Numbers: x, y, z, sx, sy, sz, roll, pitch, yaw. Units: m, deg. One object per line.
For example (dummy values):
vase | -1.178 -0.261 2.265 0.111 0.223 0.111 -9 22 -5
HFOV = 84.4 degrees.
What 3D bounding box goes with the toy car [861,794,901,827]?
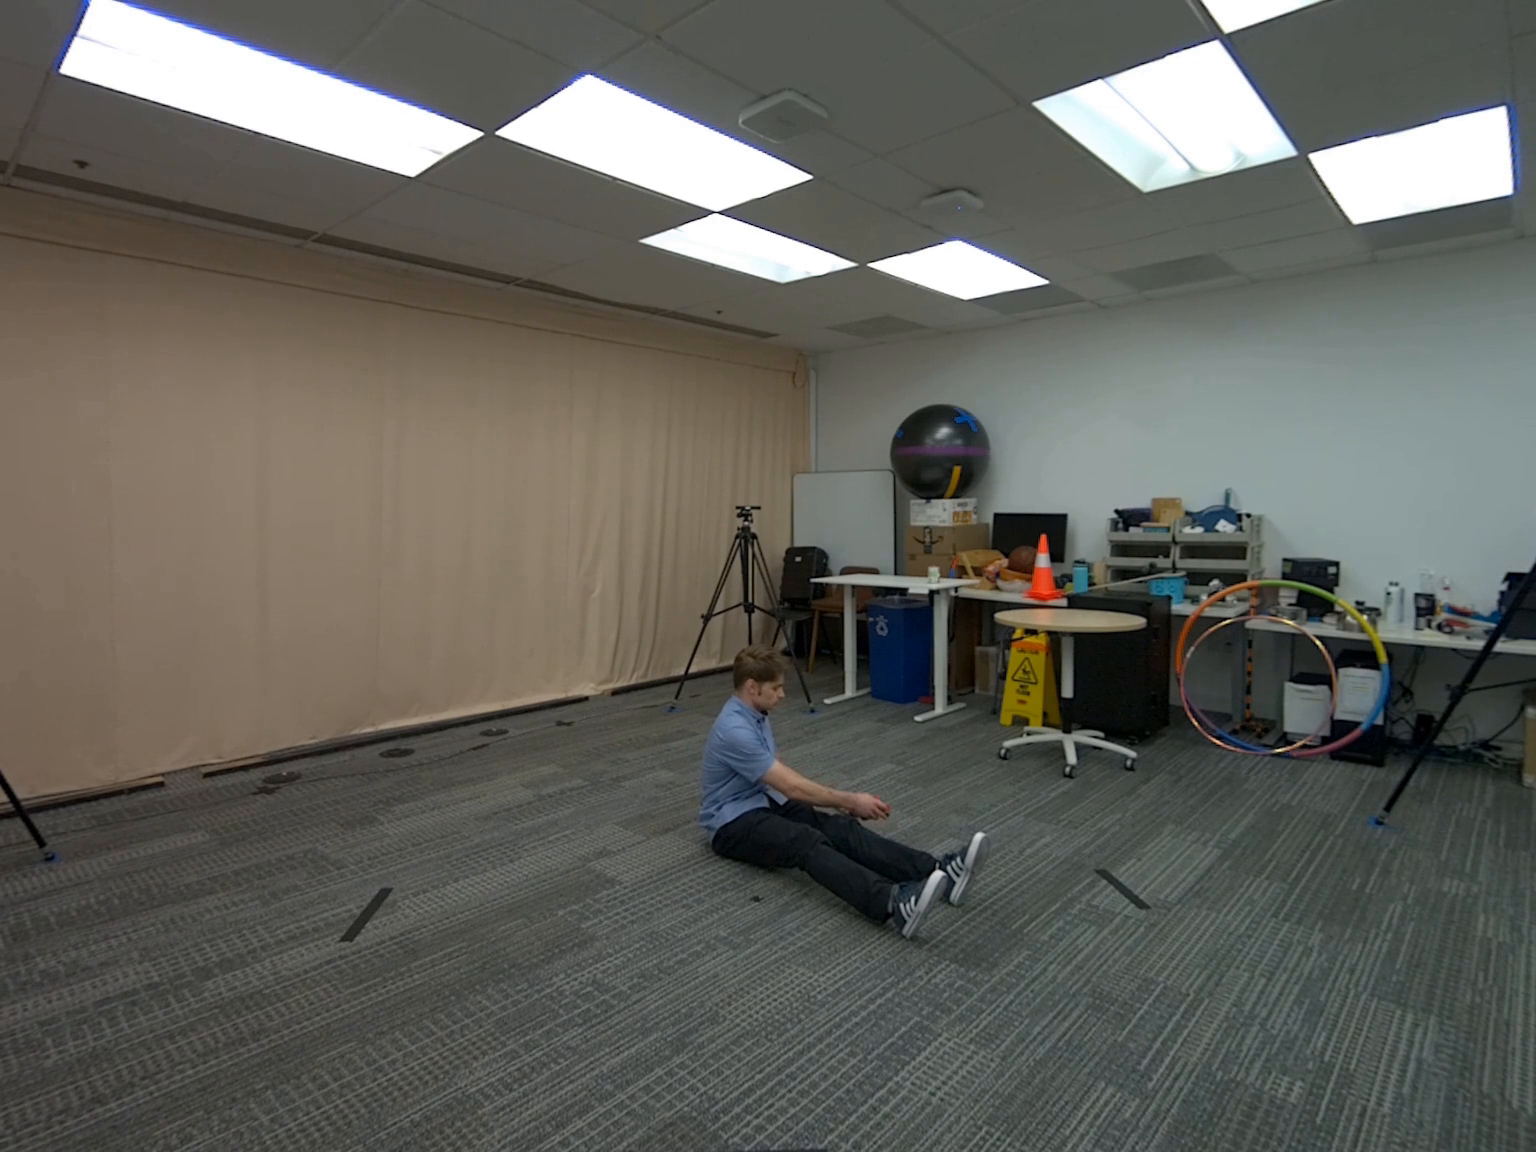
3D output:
toy car | 0.417 0.960 3.449 0.128 0.084 0.255 -3 -22 -18
